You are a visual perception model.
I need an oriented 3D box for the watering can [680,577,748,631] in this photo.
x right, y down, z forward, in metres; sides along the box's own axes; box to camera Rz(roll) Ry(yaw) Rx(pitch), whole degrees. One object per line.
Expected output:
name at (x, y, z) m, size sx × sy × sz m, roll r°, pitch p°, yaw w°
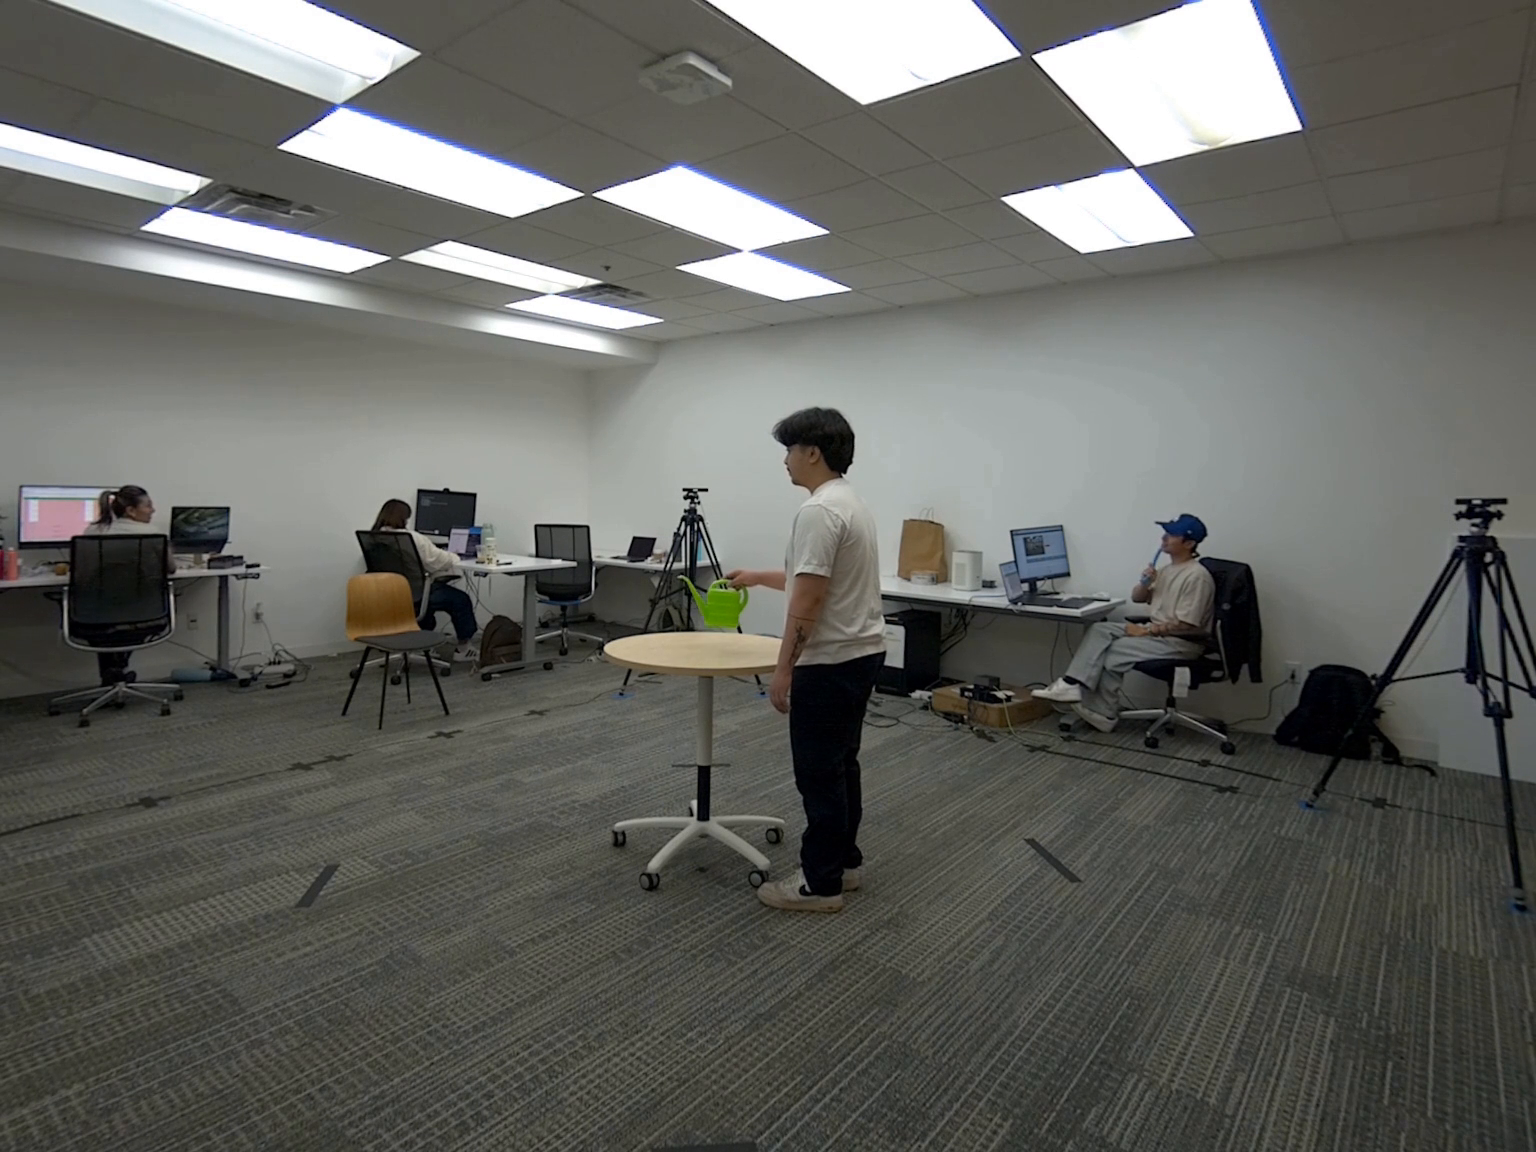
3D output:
watering can at (-0.224, 0.097, 3.179) m, size 0.276 × 0.177 × 0.099 m, roll 6°, pitch -1°, yaw -8°
